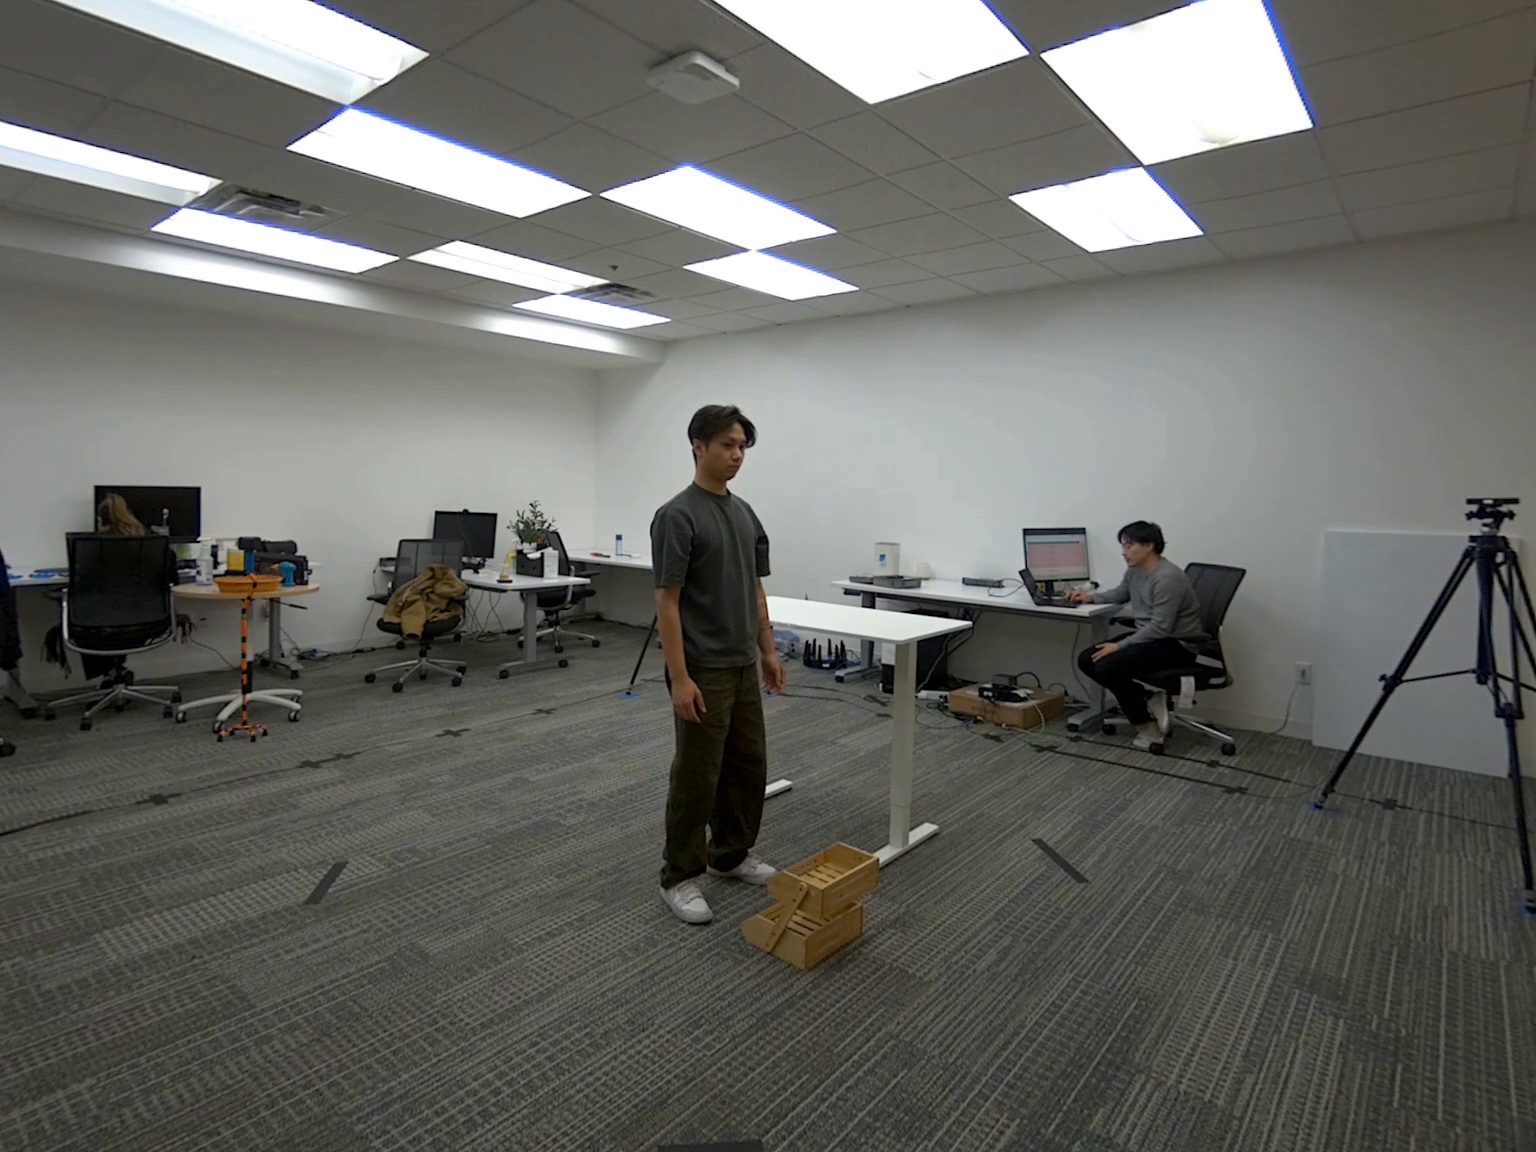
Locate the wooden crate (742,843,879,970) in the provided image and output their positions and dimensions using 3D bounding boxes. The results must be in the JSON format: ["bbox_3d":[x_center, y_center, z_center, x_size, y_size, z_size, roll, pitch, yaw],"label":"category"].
[{"bbox_3d":[0.123,0.986,2.628,0.312,0.272,0.315,6,6,41],"label":"wooden crate"}]
